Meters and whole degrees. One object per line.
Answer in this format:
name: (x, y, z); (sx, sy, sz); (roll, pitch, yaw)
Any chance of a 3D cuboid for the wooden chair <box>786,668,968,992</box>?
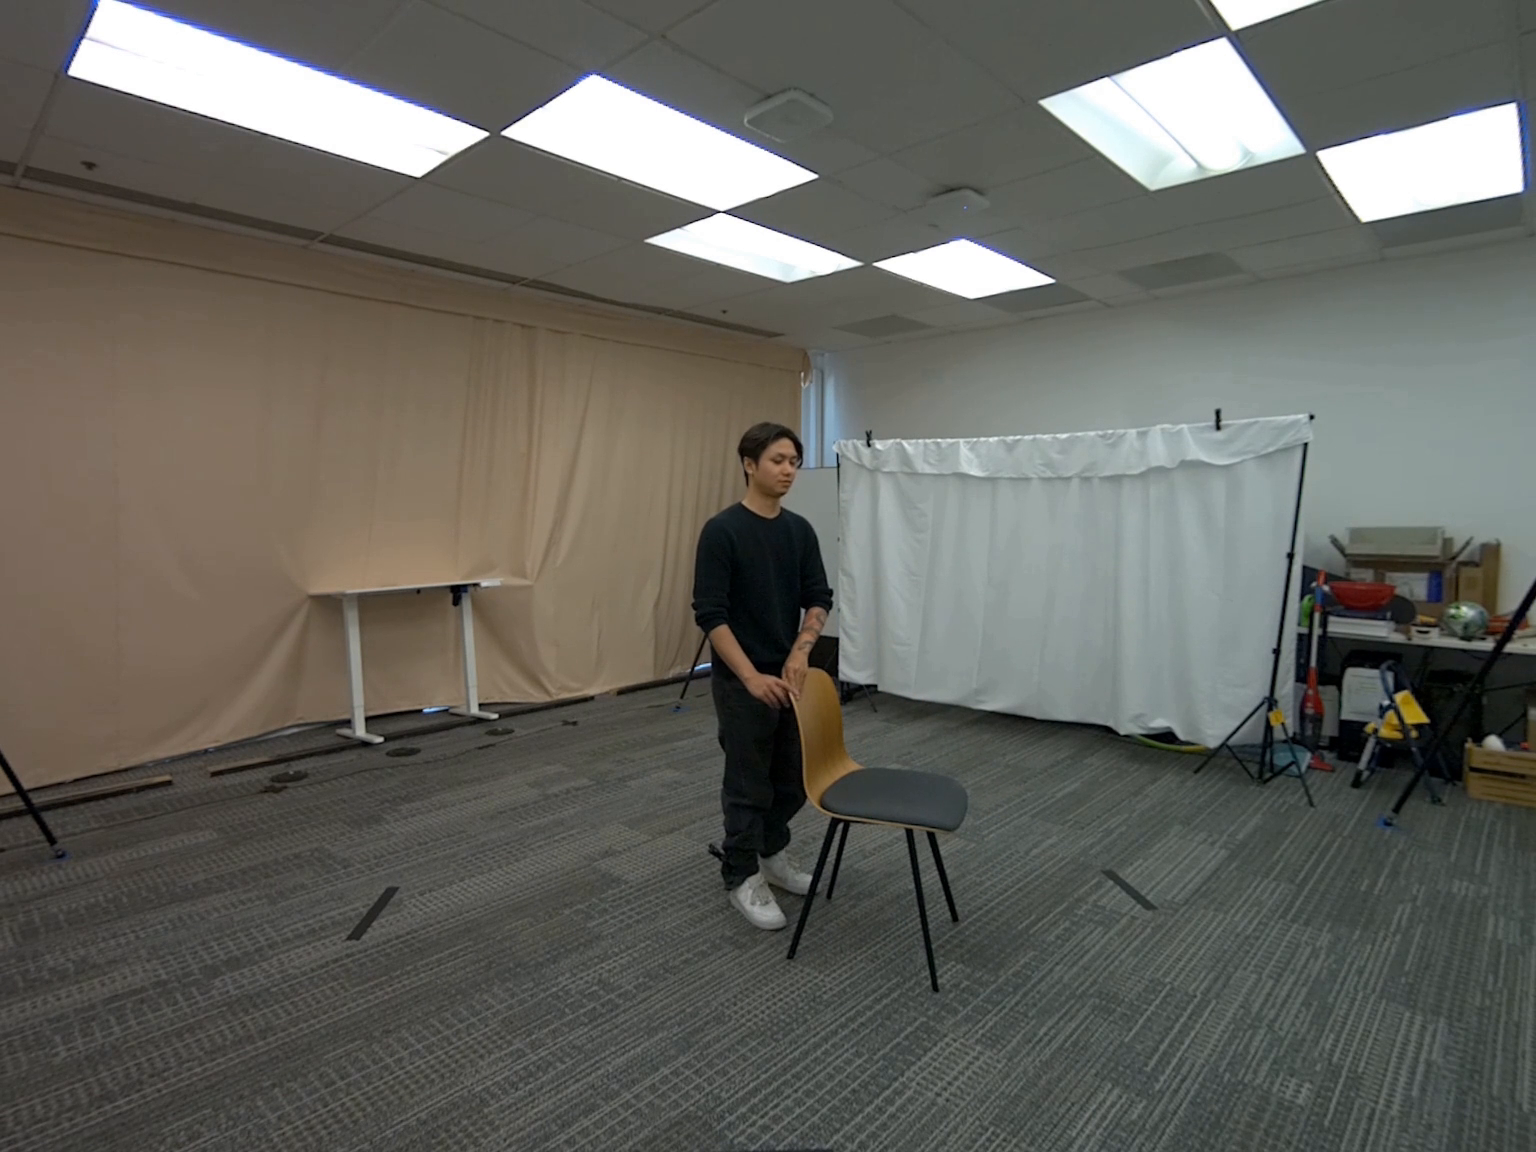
wooden chair: (0.363, 0.741, 2.672); (0.535, 0.877, 0.468); (-4, 1, 22)
